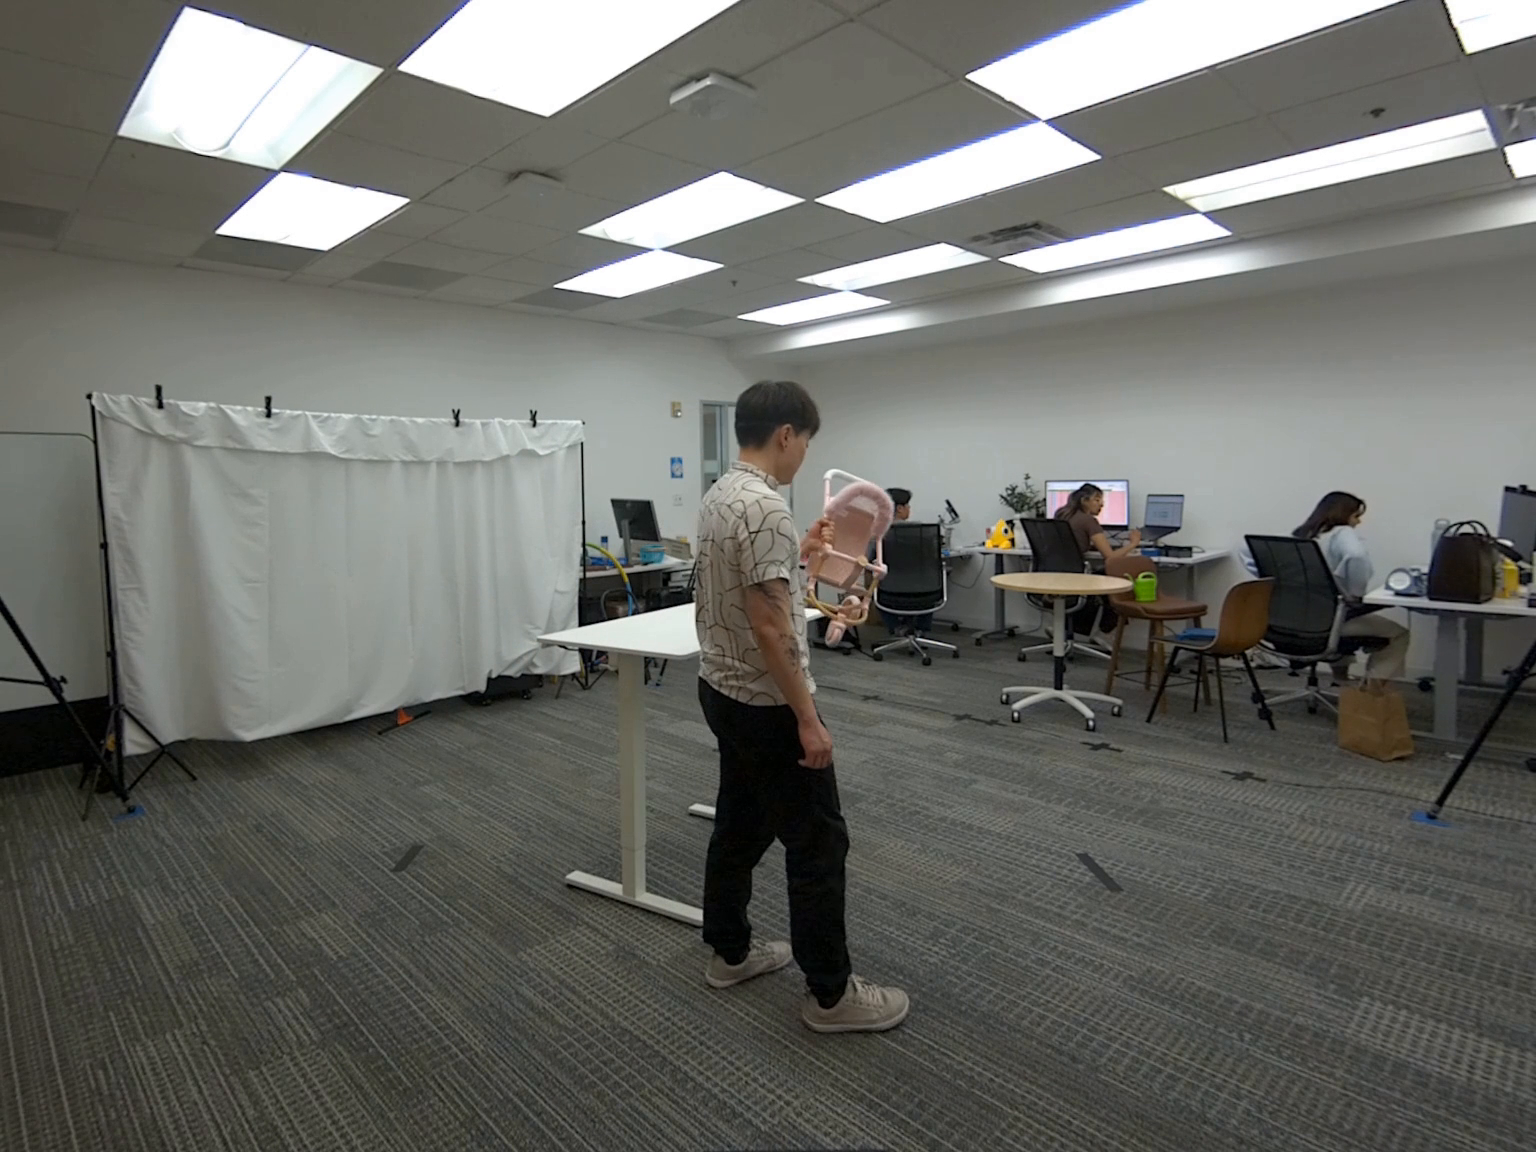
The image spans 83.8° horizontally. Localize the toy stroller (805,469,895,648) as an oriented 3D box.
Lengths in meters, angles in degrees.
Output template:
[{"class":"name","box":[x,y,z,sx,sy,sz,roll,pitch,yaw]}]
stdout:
[{"class":"toy stroller","box":[0.235,-0.057,2.618,0.277,0.535,0.346,21,-2,-13]}]
